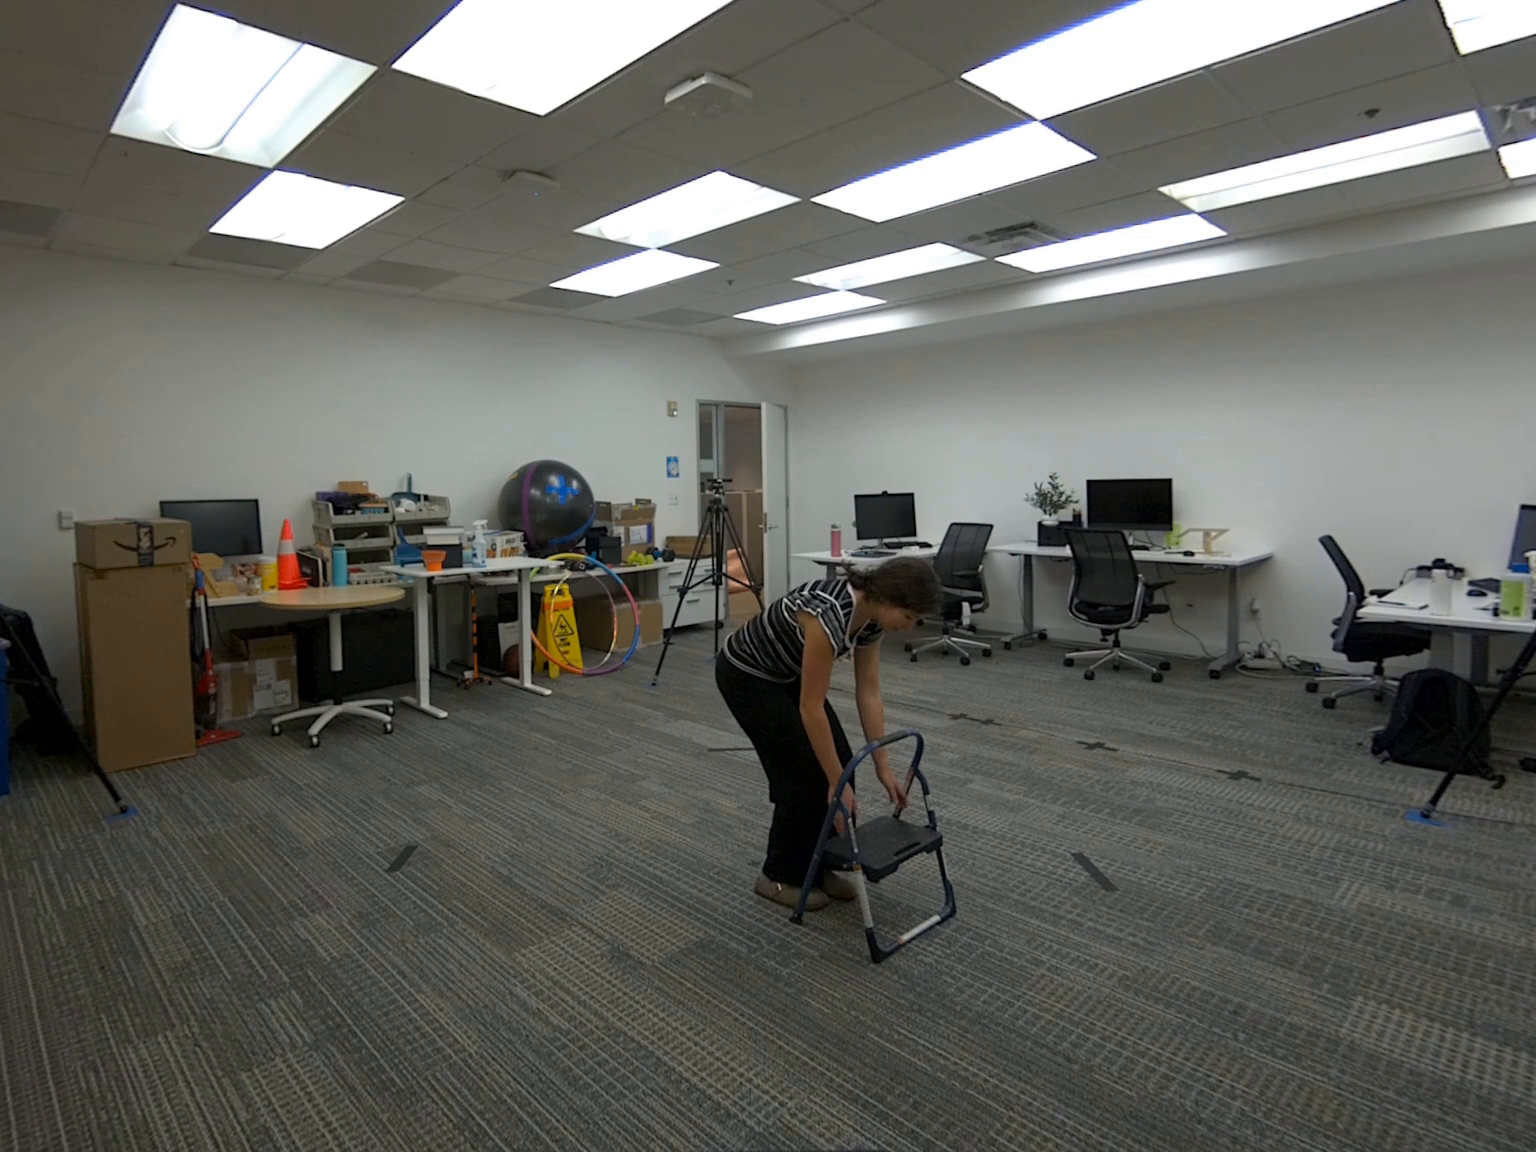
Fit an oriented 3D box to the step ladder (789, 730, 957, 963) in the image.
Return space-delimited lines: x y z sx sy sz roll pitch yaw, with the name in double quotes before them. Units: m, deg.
"step ladder" 0.335 0.785 2.690 0.419 0.604 0.360 -5 6 -45
